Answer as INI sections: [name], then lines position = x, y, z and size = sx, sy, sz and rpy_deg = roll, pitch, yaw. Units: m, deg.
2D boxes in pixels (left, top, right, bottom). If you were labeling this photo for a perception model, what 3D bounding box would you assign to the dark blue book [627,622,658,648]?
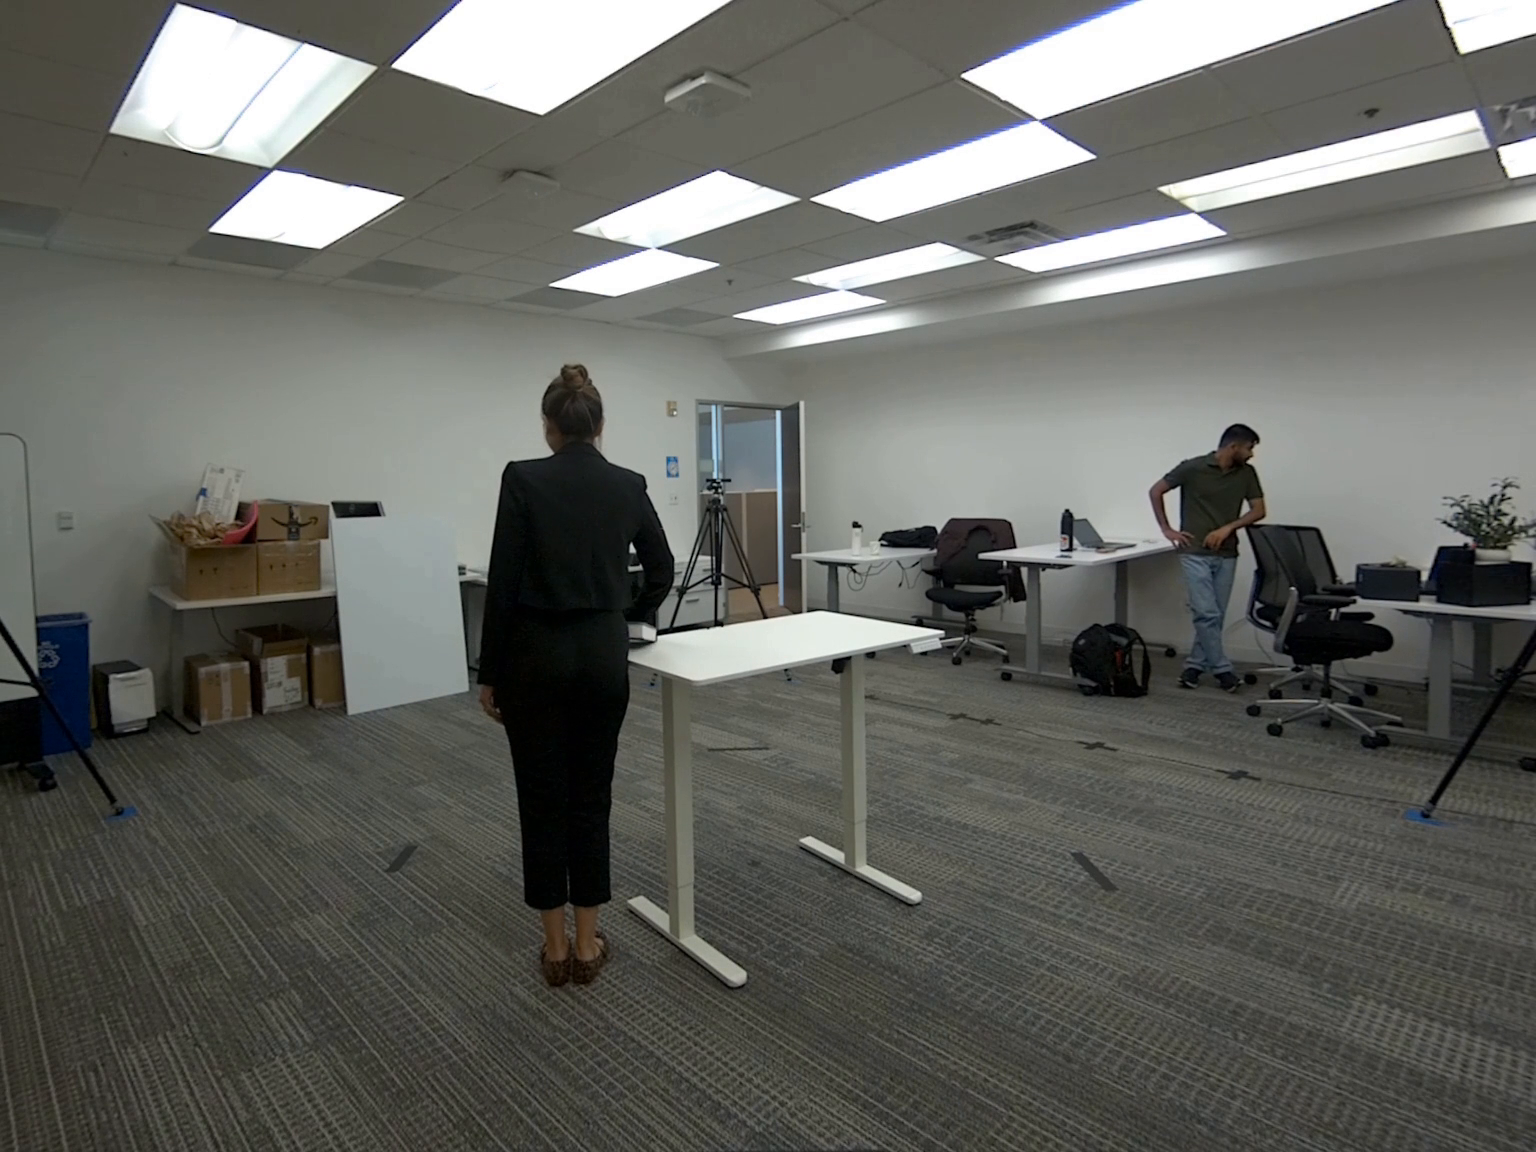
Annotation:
[dark blue book]
position = -0.483, 0.161, 2.709
size = 0.248, 0.045, 0.160
rpy_deg = 4, -9, 10
